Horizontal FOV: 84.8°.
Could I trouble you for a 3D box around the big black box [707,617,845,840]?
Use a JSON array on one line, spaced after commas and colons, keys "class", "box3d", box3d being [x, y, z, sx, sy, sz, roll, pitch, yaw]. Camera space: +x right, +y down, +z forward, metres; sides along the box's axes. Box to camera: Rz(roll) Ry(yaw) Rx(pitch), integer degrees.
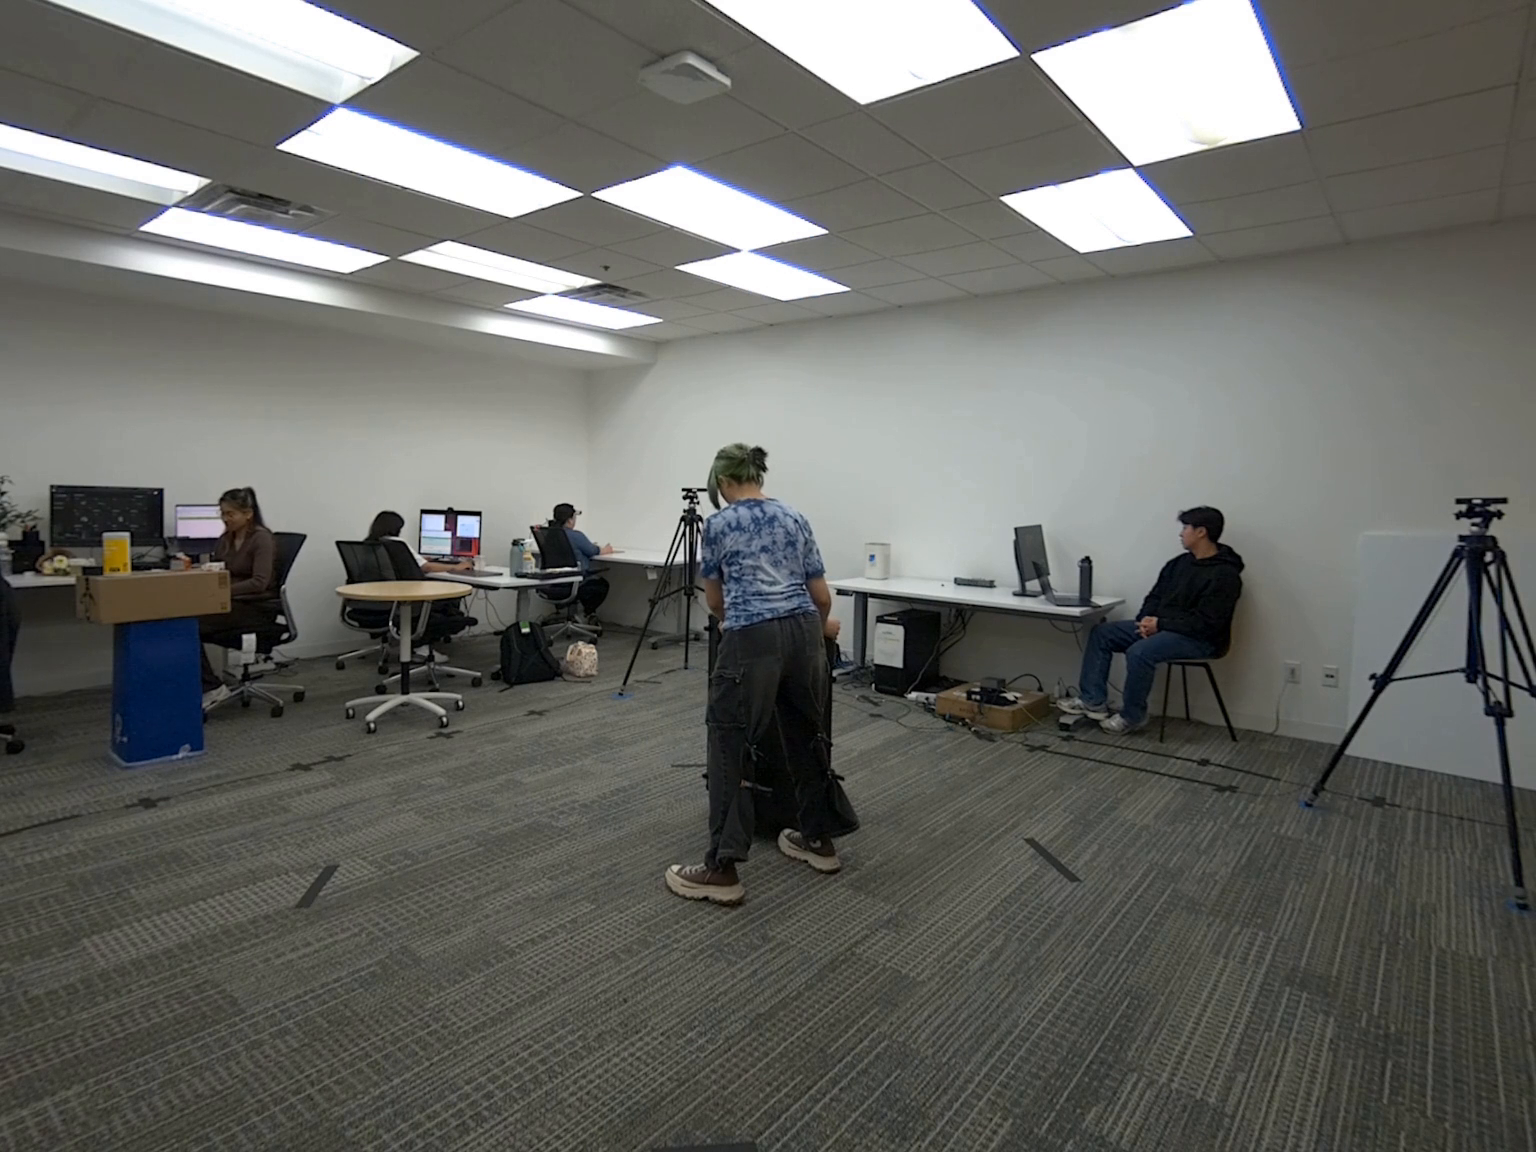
[{"class": "big black box", "box3d": [-0.018, 0.598, 3.566, 0.388, 0.859, 0.534, -1, 4, -23]}]
